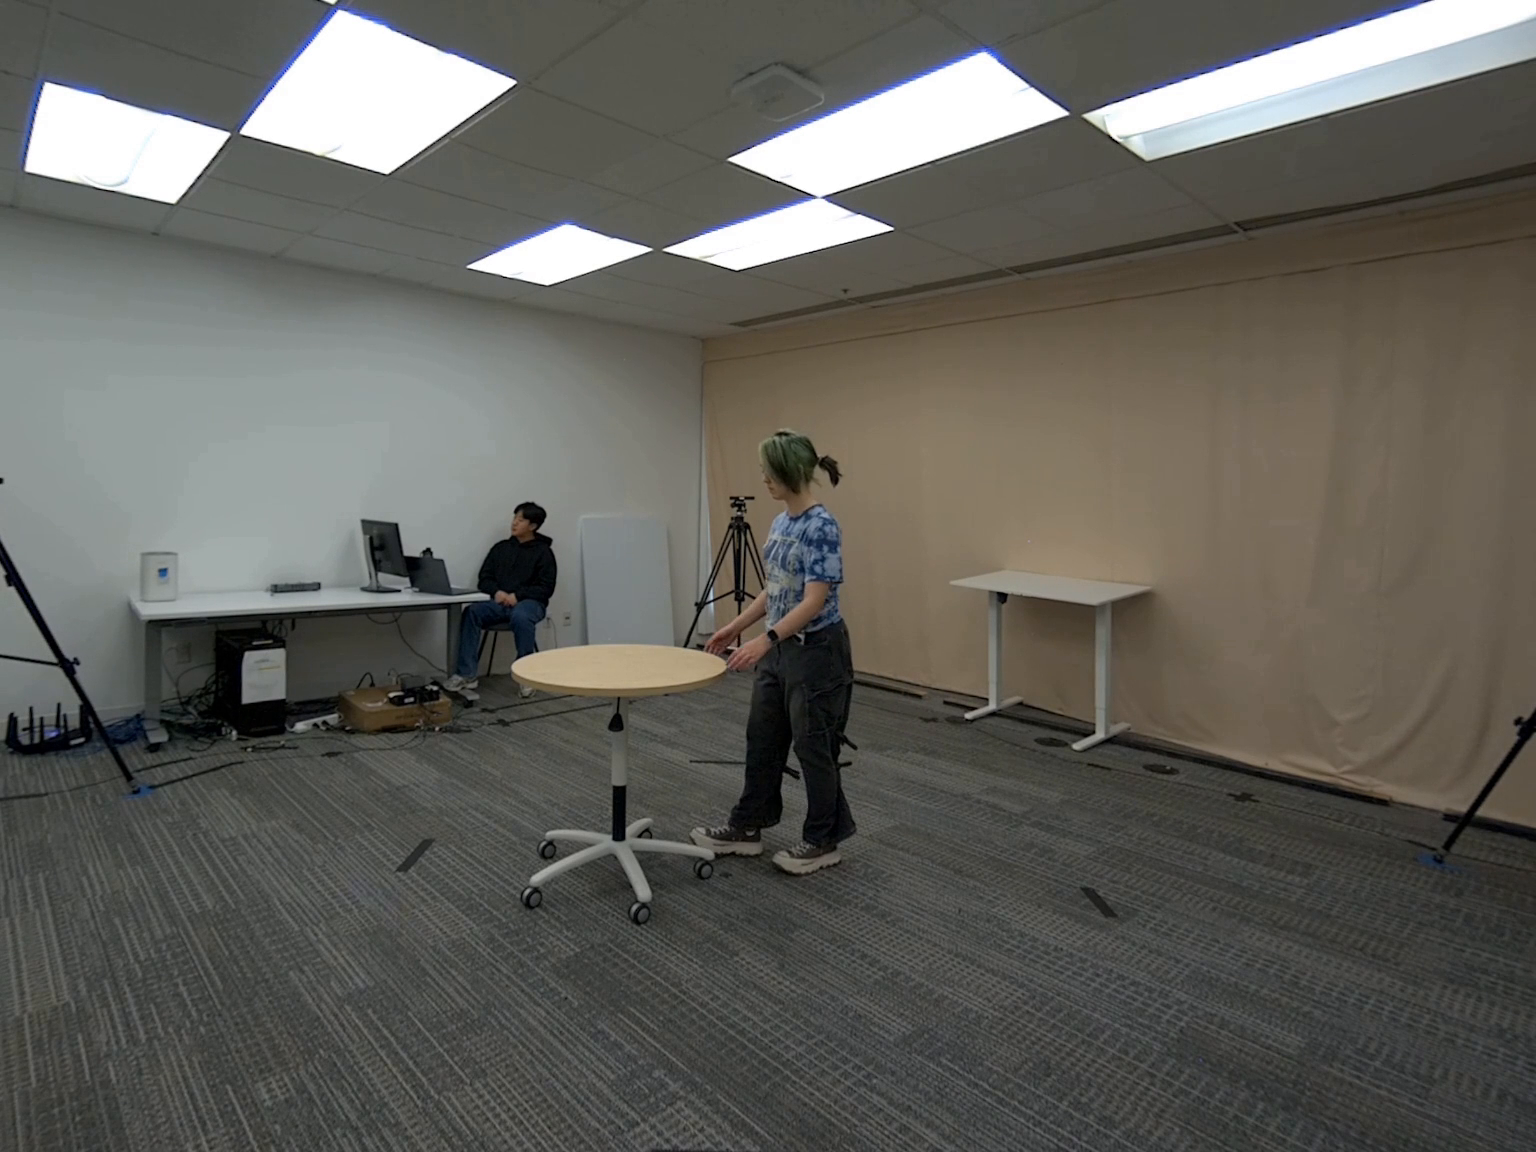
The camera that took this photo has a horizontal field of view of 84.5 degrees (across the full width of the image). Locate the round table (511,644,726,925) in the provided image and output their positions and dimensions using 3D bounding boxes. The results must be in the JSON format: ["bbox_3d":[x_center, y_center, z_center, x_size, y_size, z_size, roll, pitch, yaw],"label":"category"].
[{"bbox_3d":[-0.546,0.712,3.037,0.763,0.792,0.767,1,4,-1],"label":"round table"}]
